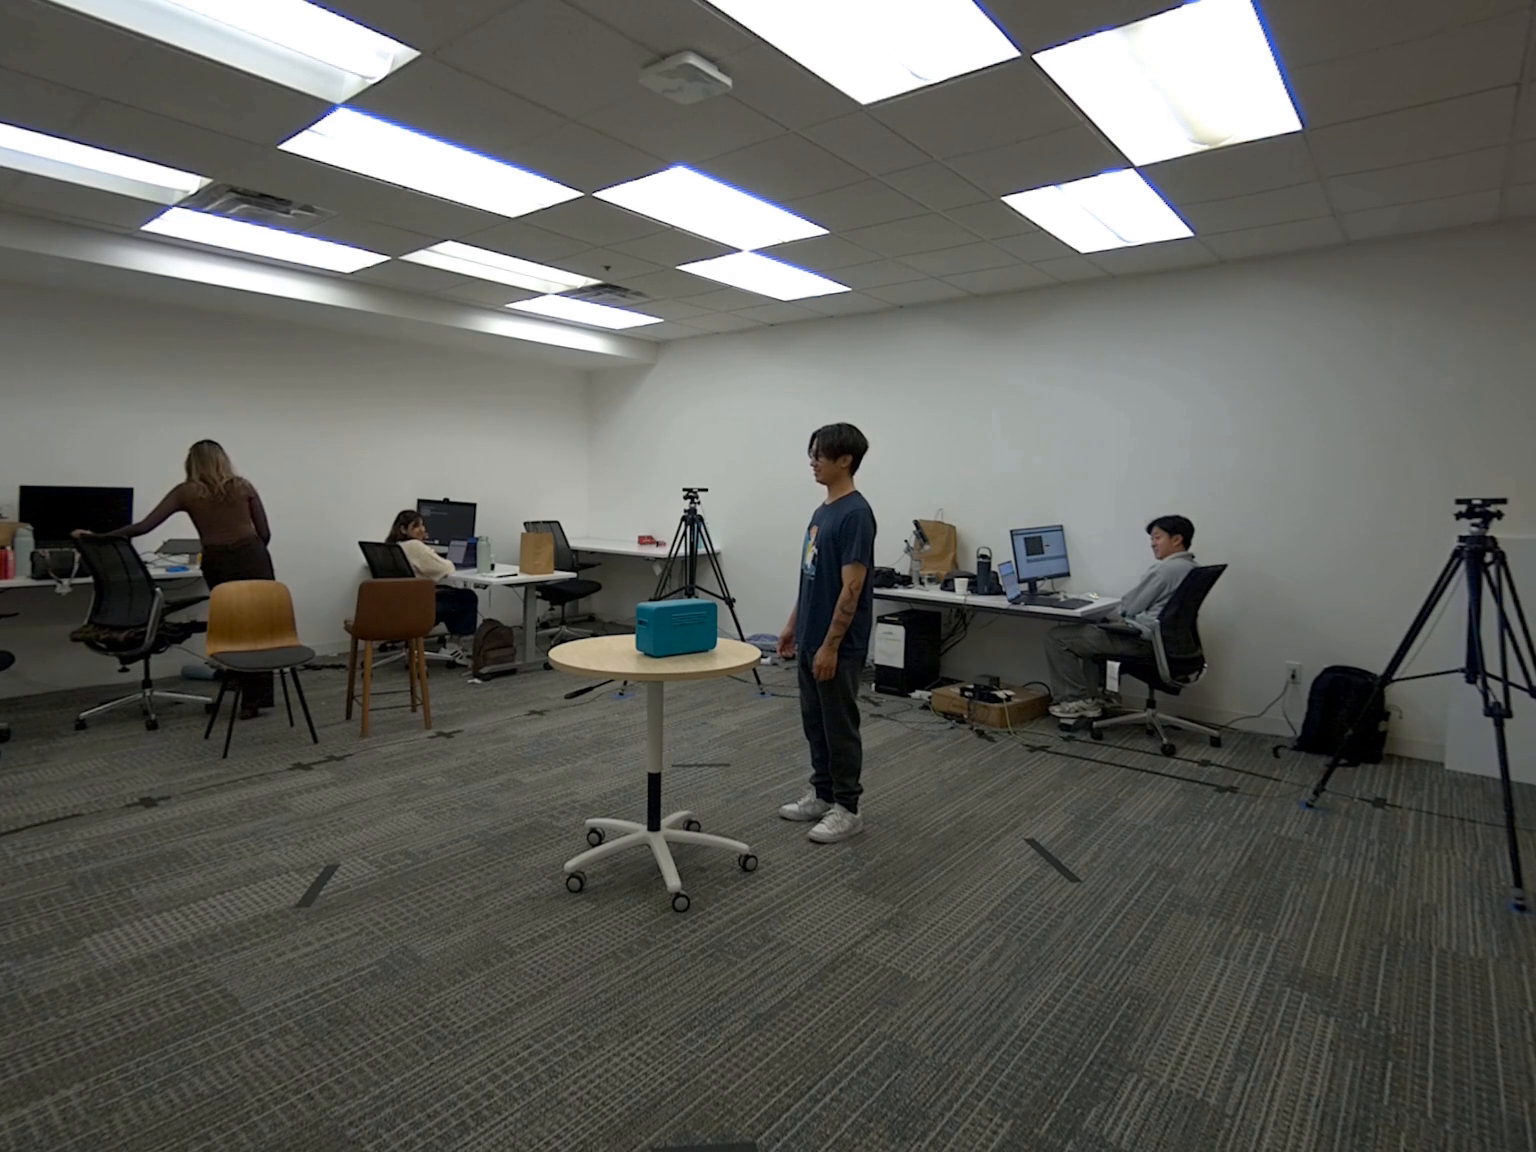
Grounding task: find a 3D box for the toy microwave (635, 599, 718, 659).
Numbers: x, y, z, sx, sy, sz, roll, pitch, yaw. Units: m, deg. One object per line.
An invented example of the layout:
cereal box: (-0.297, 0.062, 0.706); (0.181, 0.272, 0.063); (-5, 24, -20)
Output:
toy microwave: (-0.342, 0.181, 3.065); (0.278, 0.183, 0.157); (-3, 5, -38)
